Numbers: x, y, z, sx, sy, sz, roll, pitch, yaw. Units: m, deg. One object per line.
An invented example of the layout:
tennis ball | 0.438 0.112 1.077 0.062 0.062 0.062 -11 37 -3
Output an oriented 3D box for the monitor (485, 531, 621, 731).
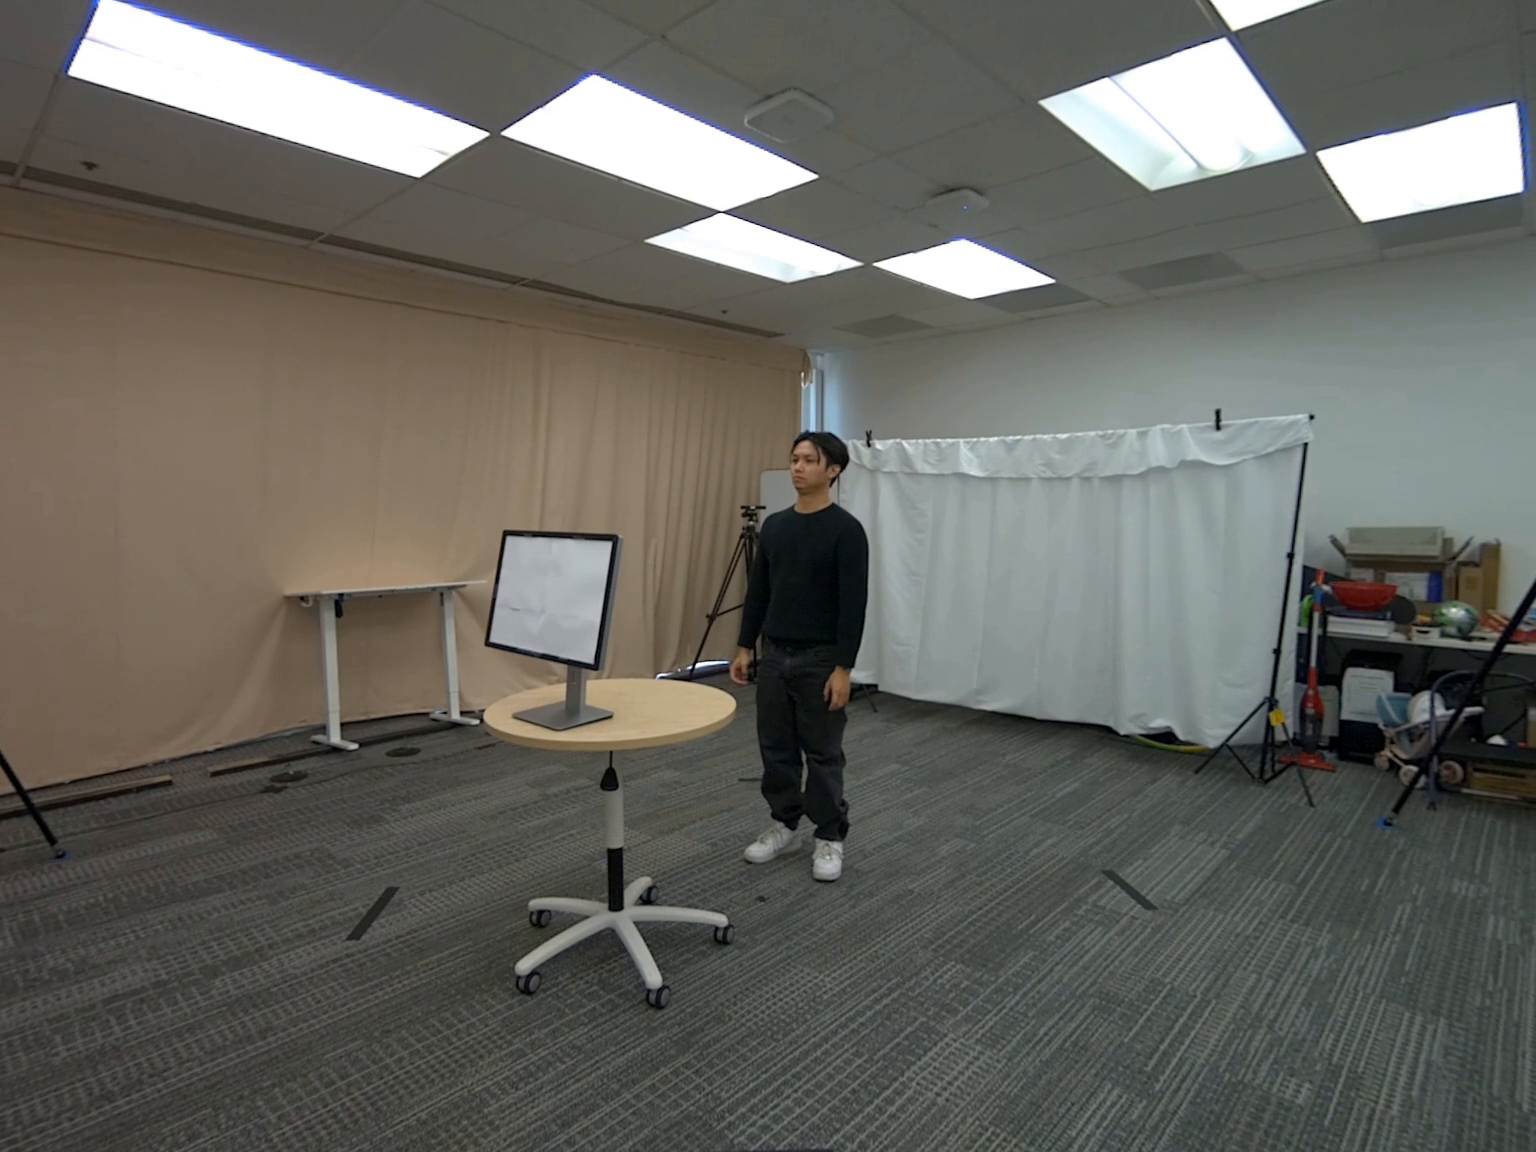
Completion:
monitor | -0.608 0.147 2.433 0.548 0.513 0.170 5 10 40
